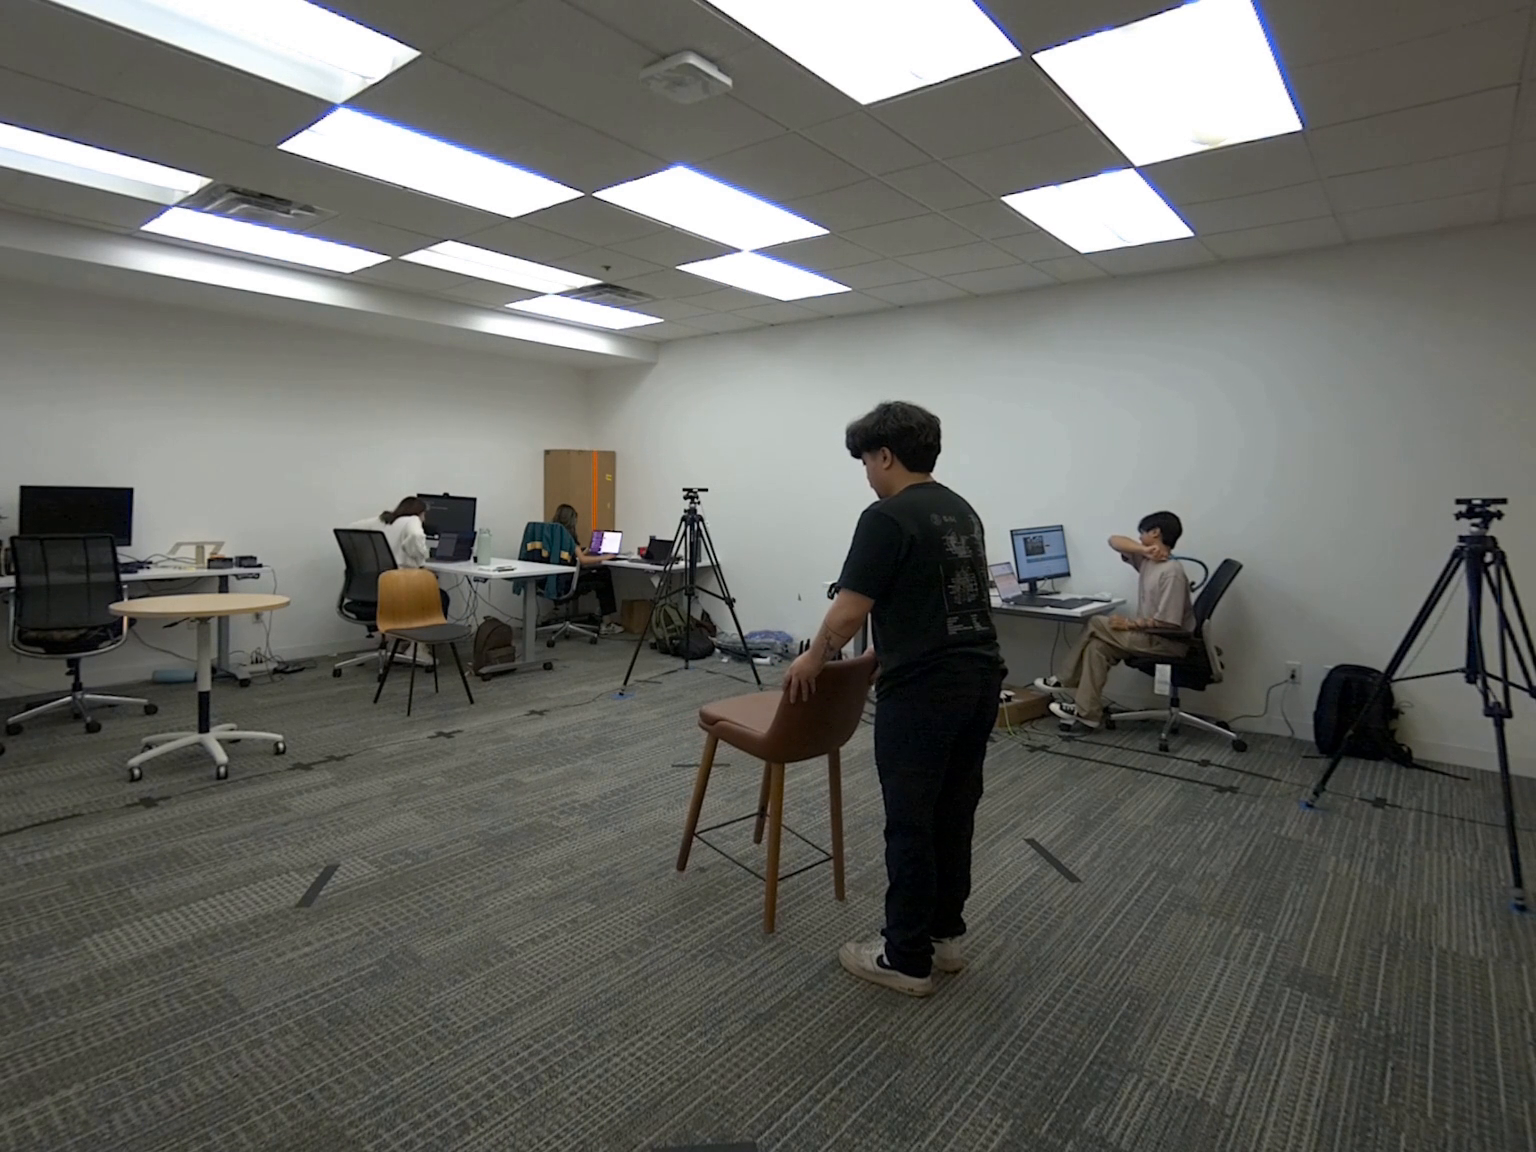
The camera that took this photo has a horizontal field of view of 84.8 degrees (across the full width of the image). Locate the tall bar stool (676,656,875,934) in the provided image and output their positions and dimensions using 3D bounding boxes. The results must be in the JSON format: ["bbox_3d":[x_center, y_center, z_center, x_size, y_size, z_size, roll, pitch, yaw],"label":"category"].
[{"bbox_3d":[0.026,0.639,2.881,0.442,0.883,0.486,-1,13,-44],"label":"tall bar stool"}]
